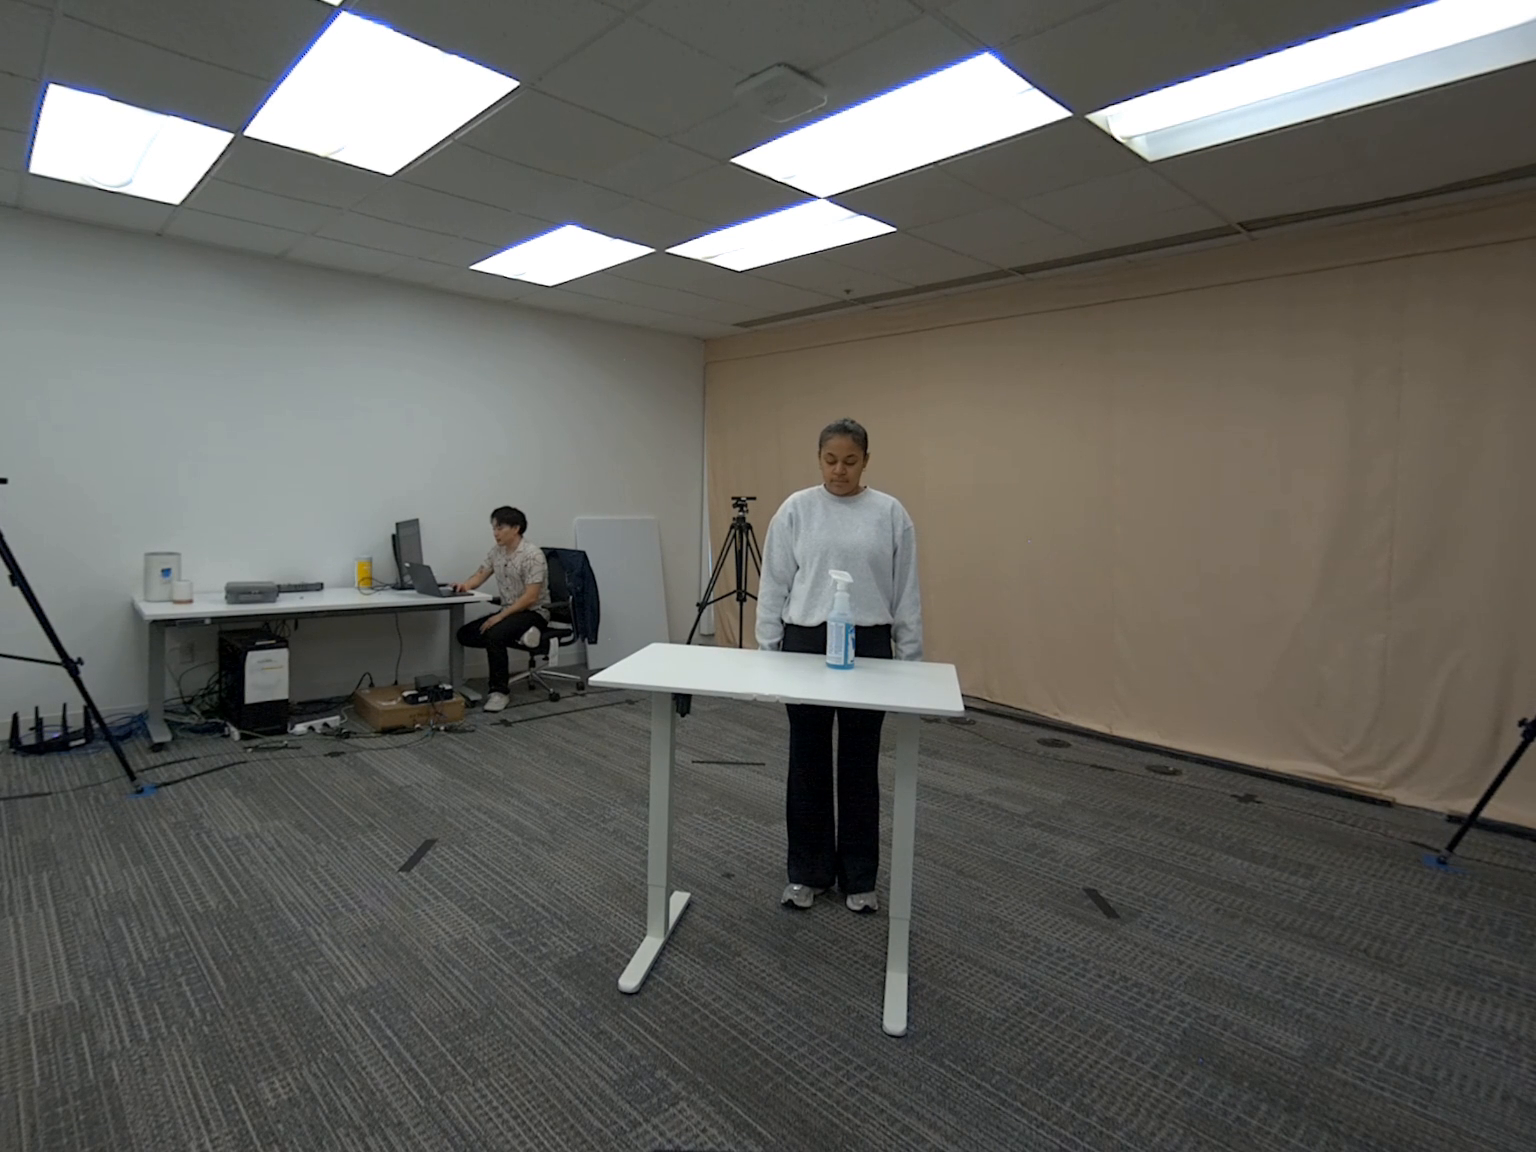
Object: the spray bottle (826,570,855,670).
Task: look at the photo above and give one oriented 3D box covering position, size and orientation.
[{"bbox_3d":[0.218,0.136,2.578,0.086,0.296,0.091,0,4,-17],"label":"spray bottle"}]
